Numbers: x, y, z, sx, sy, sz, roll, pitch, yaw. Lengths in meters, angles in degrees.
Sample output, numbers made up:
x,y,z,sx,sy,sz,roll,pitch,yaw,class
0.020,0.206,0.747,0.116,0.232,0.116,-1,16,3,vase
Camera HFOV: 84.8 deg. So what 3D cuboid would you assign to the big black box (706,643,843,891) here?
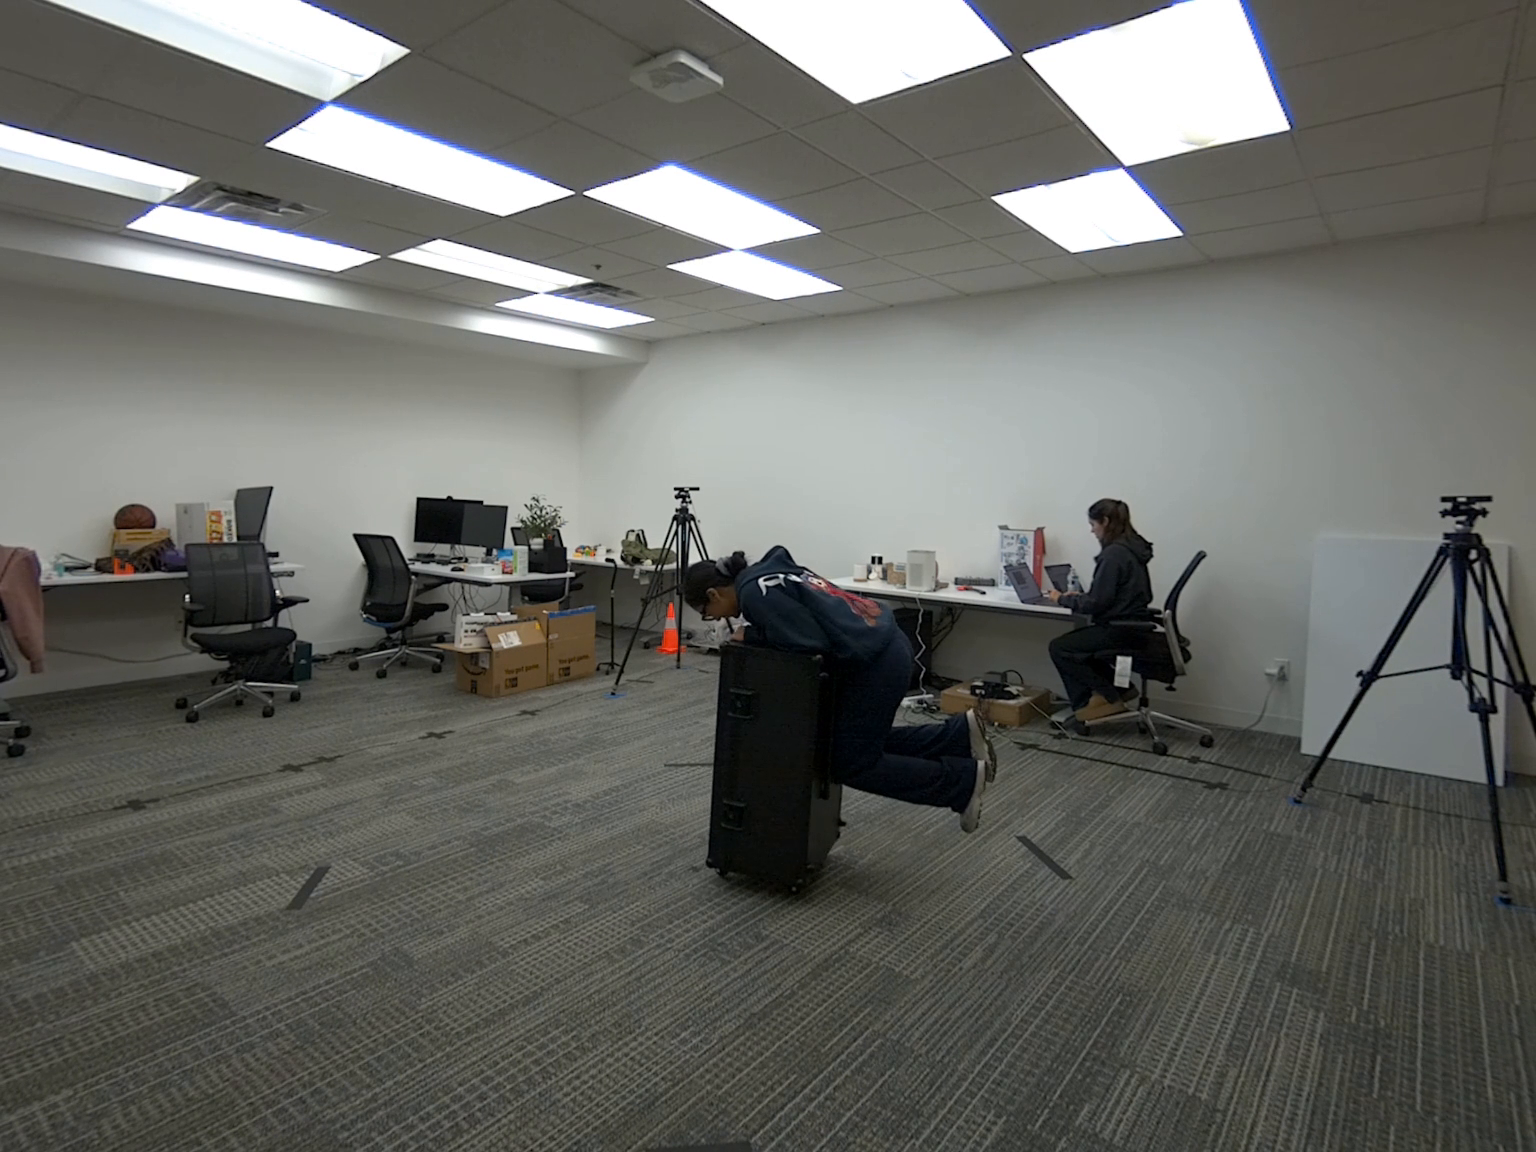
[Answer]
x,y,z,sx,sy,sz,roll,pitch,yaw,class
0.053,0.651,3.074,0.406,0.858,0.511,6,5,20,big black box
